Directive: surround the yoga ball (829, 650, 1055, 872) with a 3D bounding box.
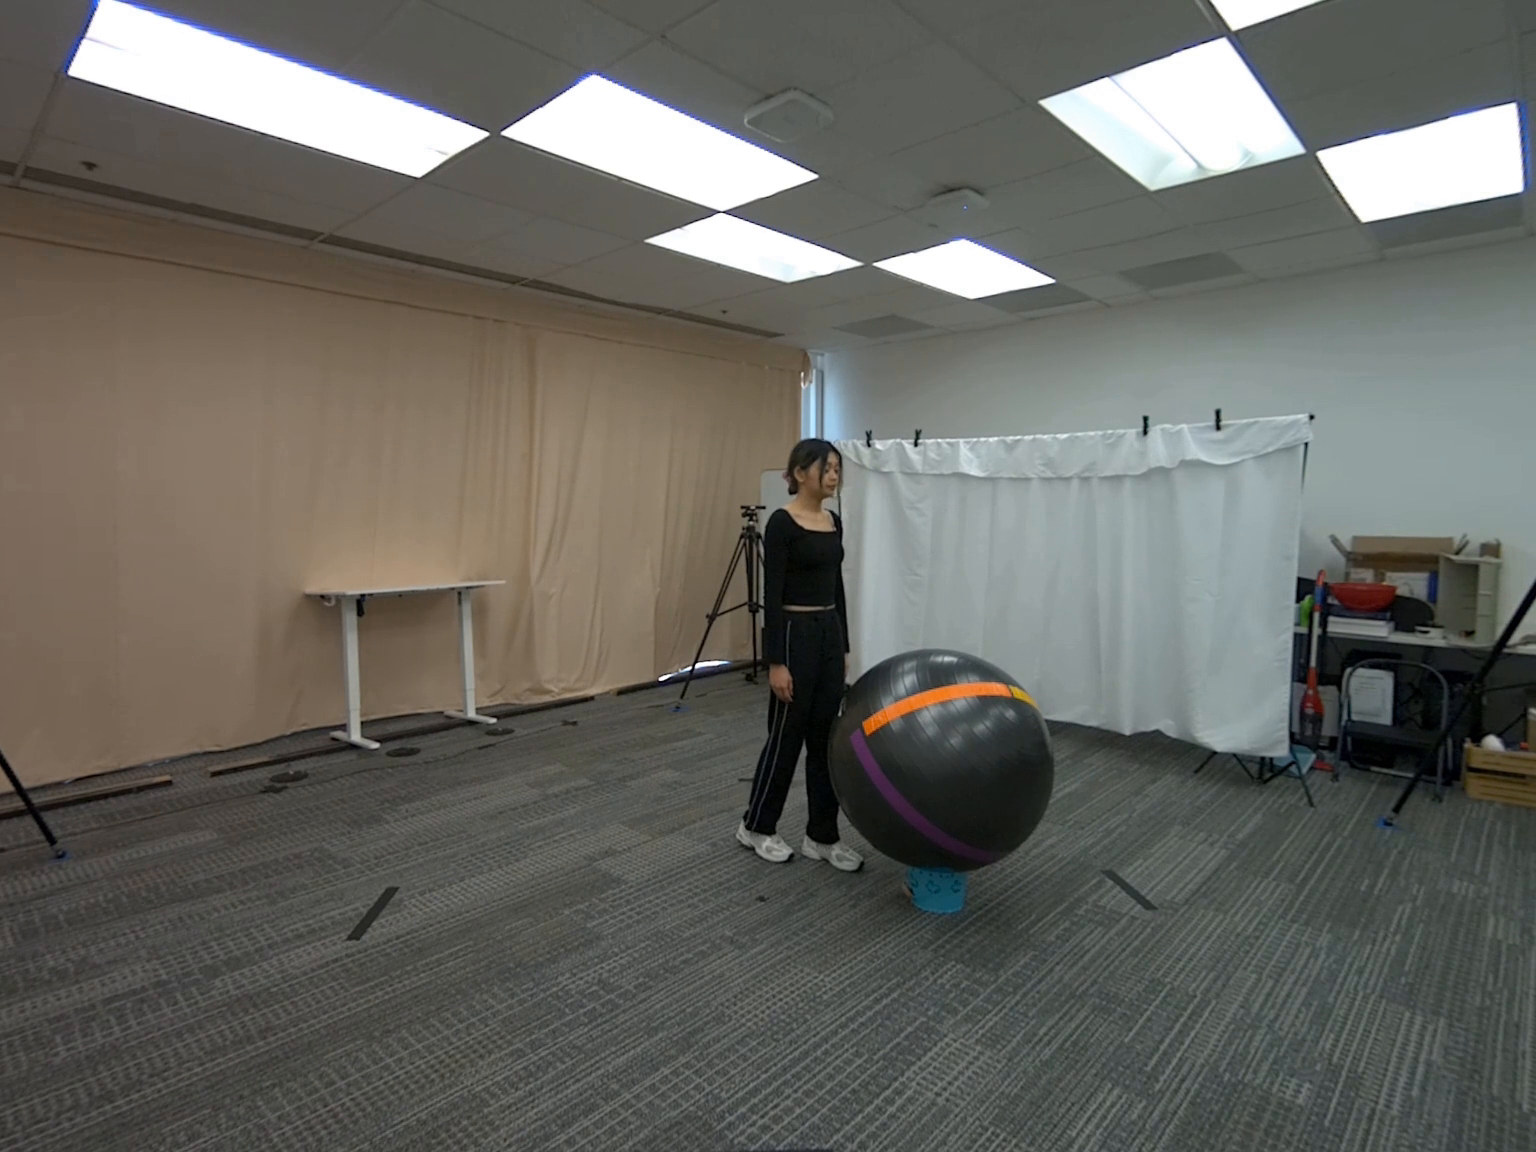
[{"bbox_3d":[0.603,0.638,2.934,0.757,0.756,0.760,0,4,-2],"label":"yoga ball"}]
